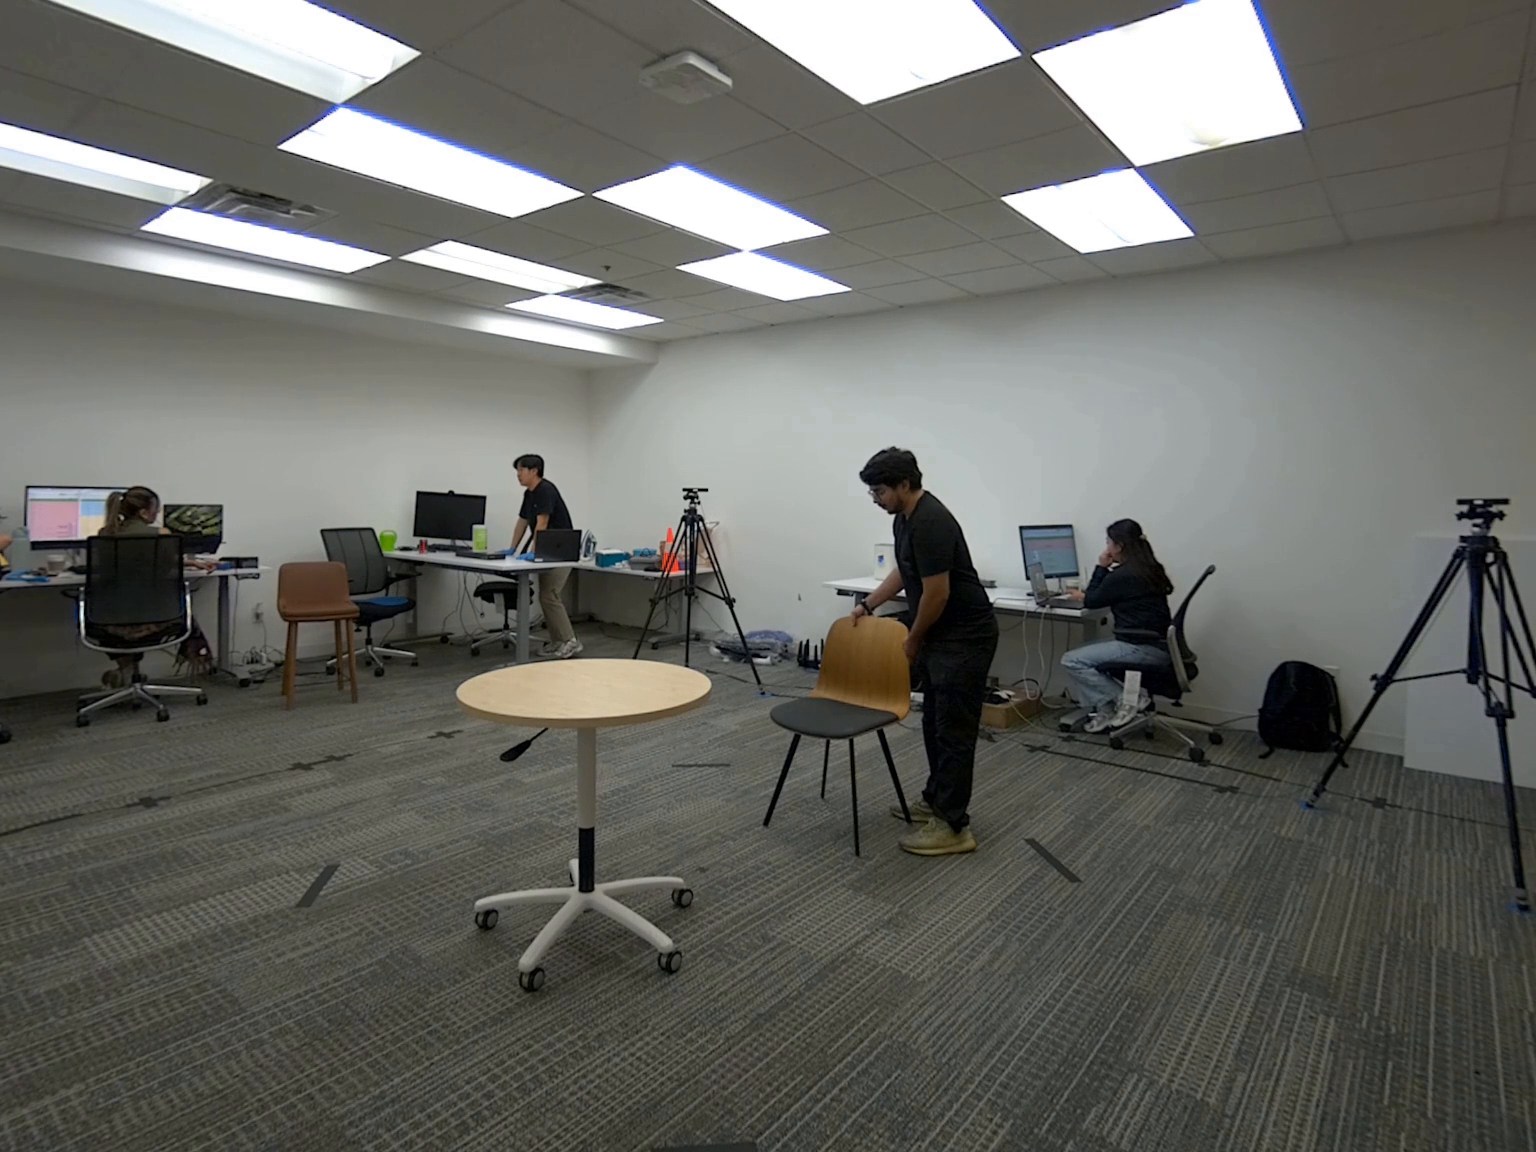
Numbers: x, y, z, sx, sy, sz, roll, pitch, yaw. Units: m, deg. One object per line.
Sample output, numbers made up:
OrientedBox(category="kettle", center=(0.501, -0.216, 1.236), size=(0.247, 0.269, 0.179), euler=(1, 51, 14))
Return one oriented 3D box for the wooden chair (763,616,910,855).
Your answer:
OrientedBox(category="wooden chair", center=(0.286, 0.610, 3.533), size=(0.494, 0.878, 0.506), euler=(4, 0, 38))
